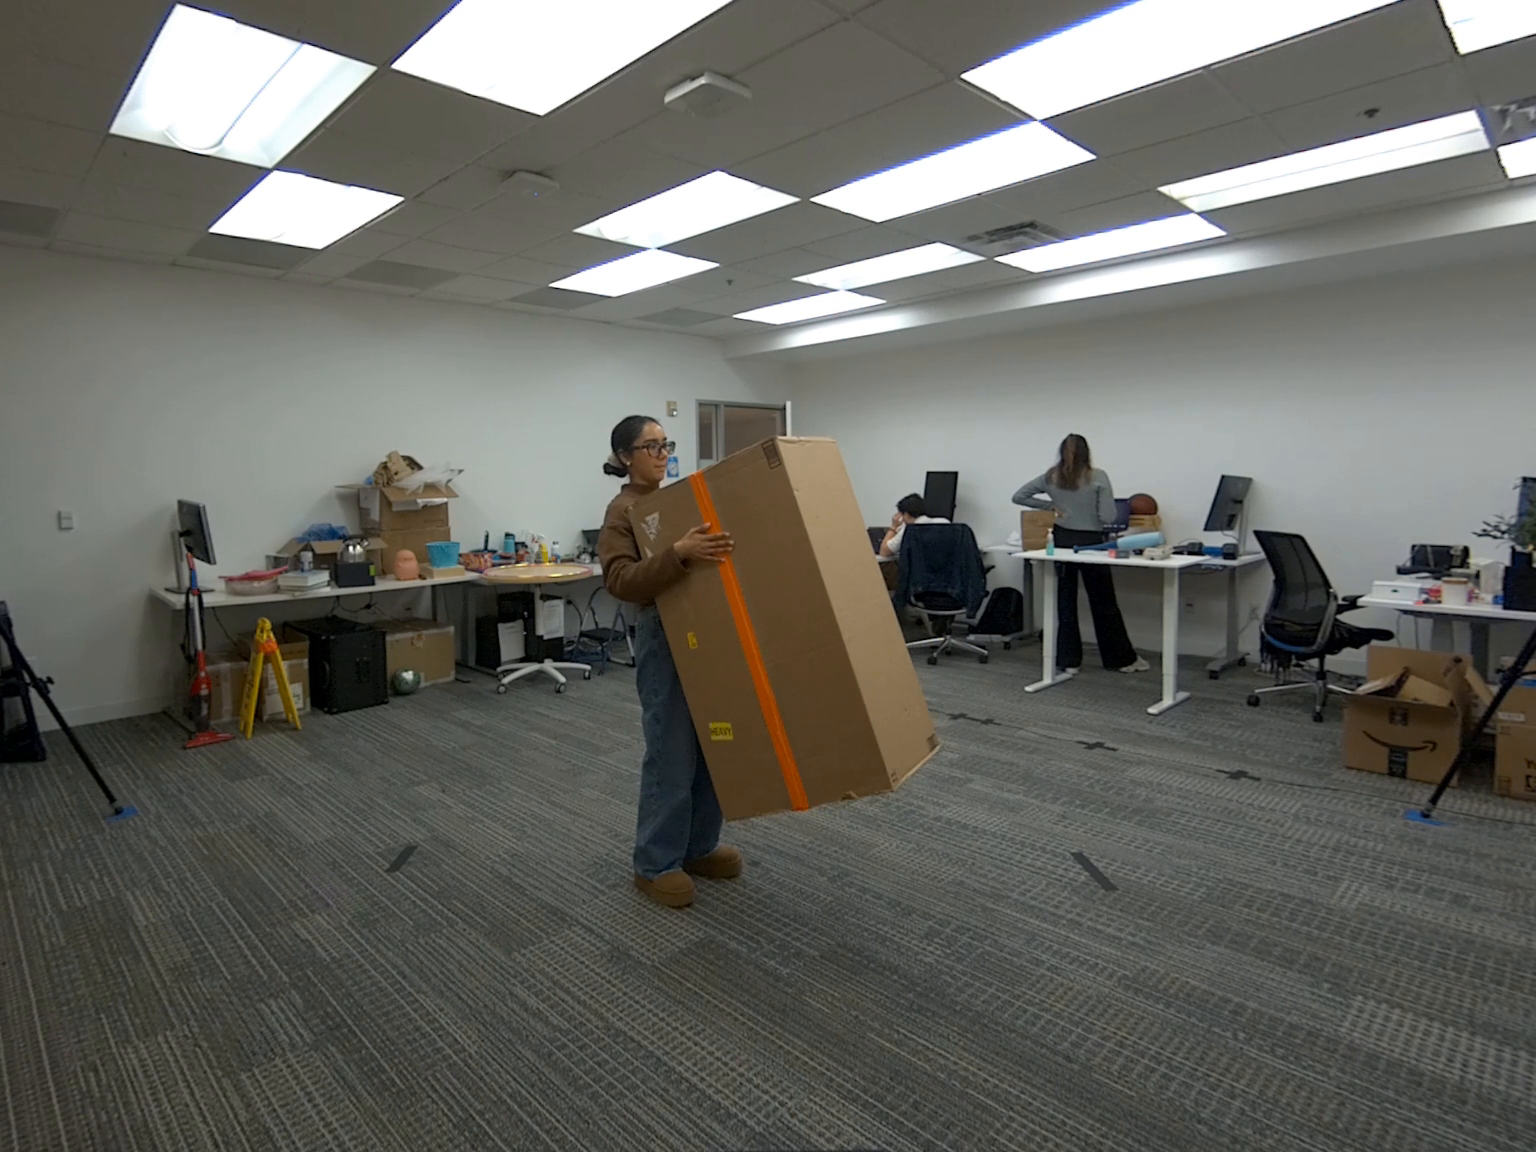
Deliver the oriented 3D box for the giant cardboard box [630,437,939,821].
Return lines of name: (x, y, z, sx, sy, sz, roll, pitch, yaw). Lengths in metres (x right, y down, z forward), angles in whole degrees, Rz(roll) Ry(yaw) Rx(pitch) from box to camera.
giant cardboard box: (0.049, 0.154, 2.655, 0.586, 1.033, 0.416, -21, -7, 32)
